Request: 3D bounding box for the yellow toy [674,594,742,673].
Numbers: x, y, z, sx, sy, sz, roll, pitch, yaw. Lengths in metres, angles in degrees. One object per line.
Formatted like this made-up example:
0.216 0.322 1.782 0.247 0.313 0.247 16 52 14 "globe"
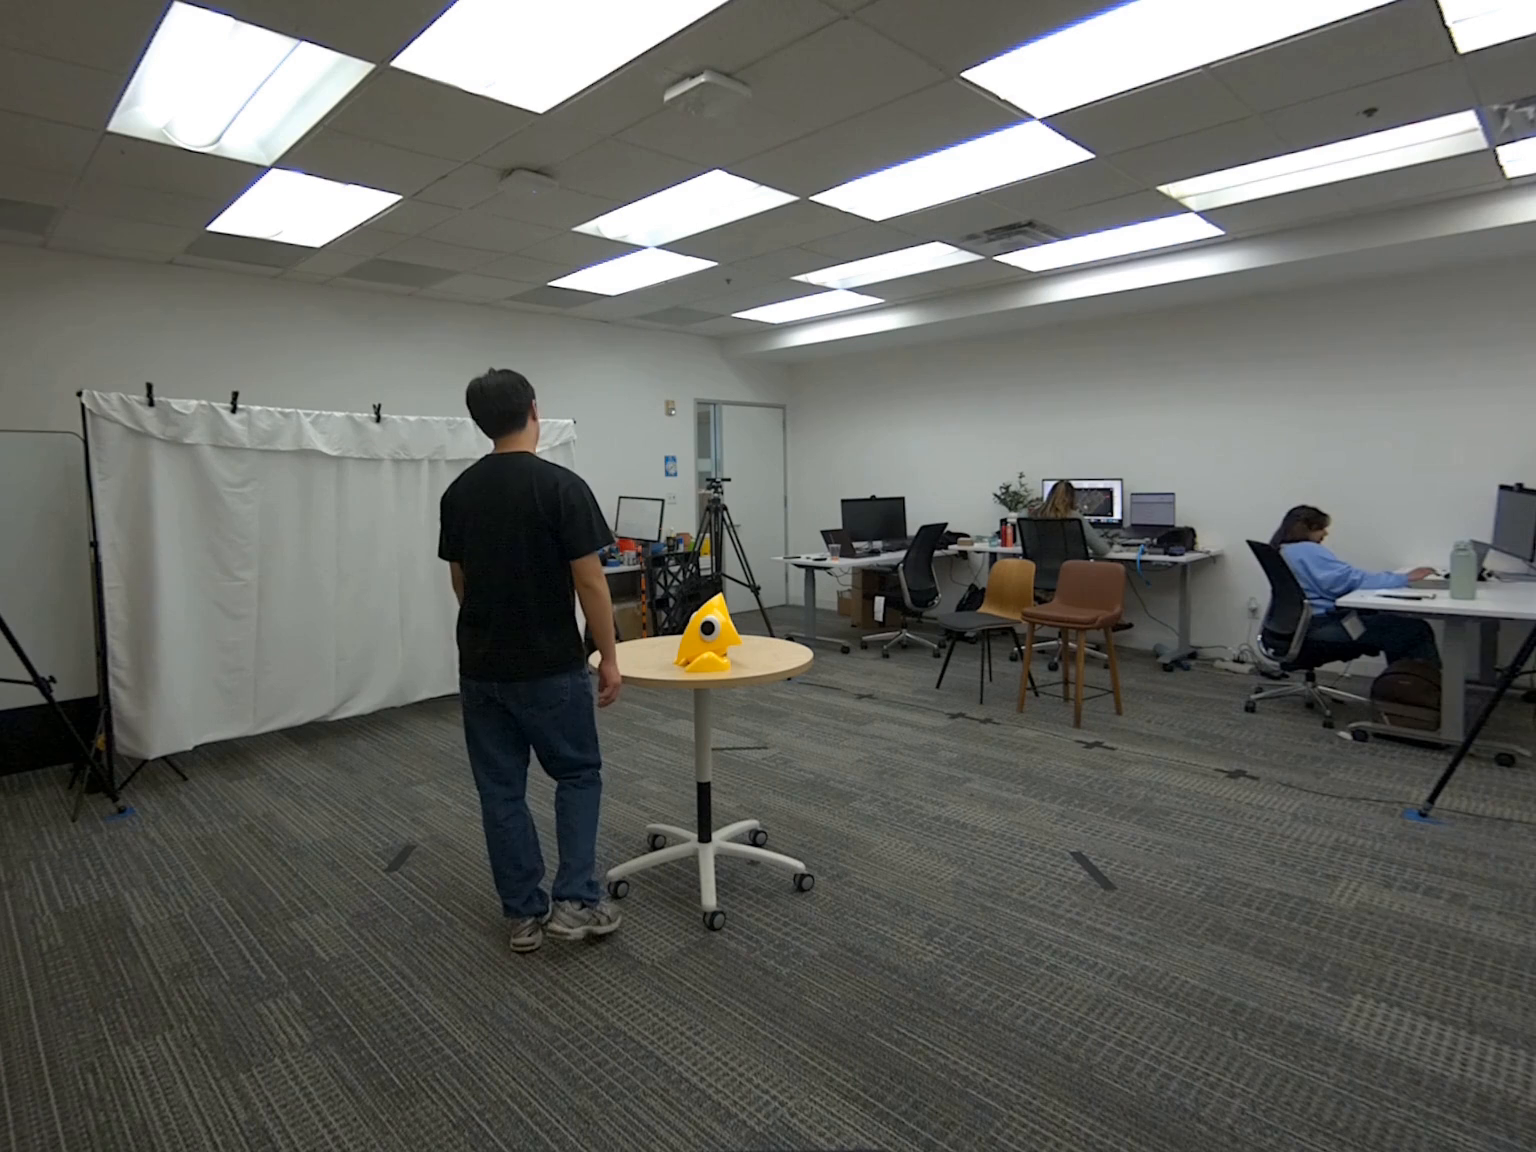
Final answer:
-0.198 0.173 2.747 0.189 0.230 0.210 -2 5 -23 "yellow toy"
